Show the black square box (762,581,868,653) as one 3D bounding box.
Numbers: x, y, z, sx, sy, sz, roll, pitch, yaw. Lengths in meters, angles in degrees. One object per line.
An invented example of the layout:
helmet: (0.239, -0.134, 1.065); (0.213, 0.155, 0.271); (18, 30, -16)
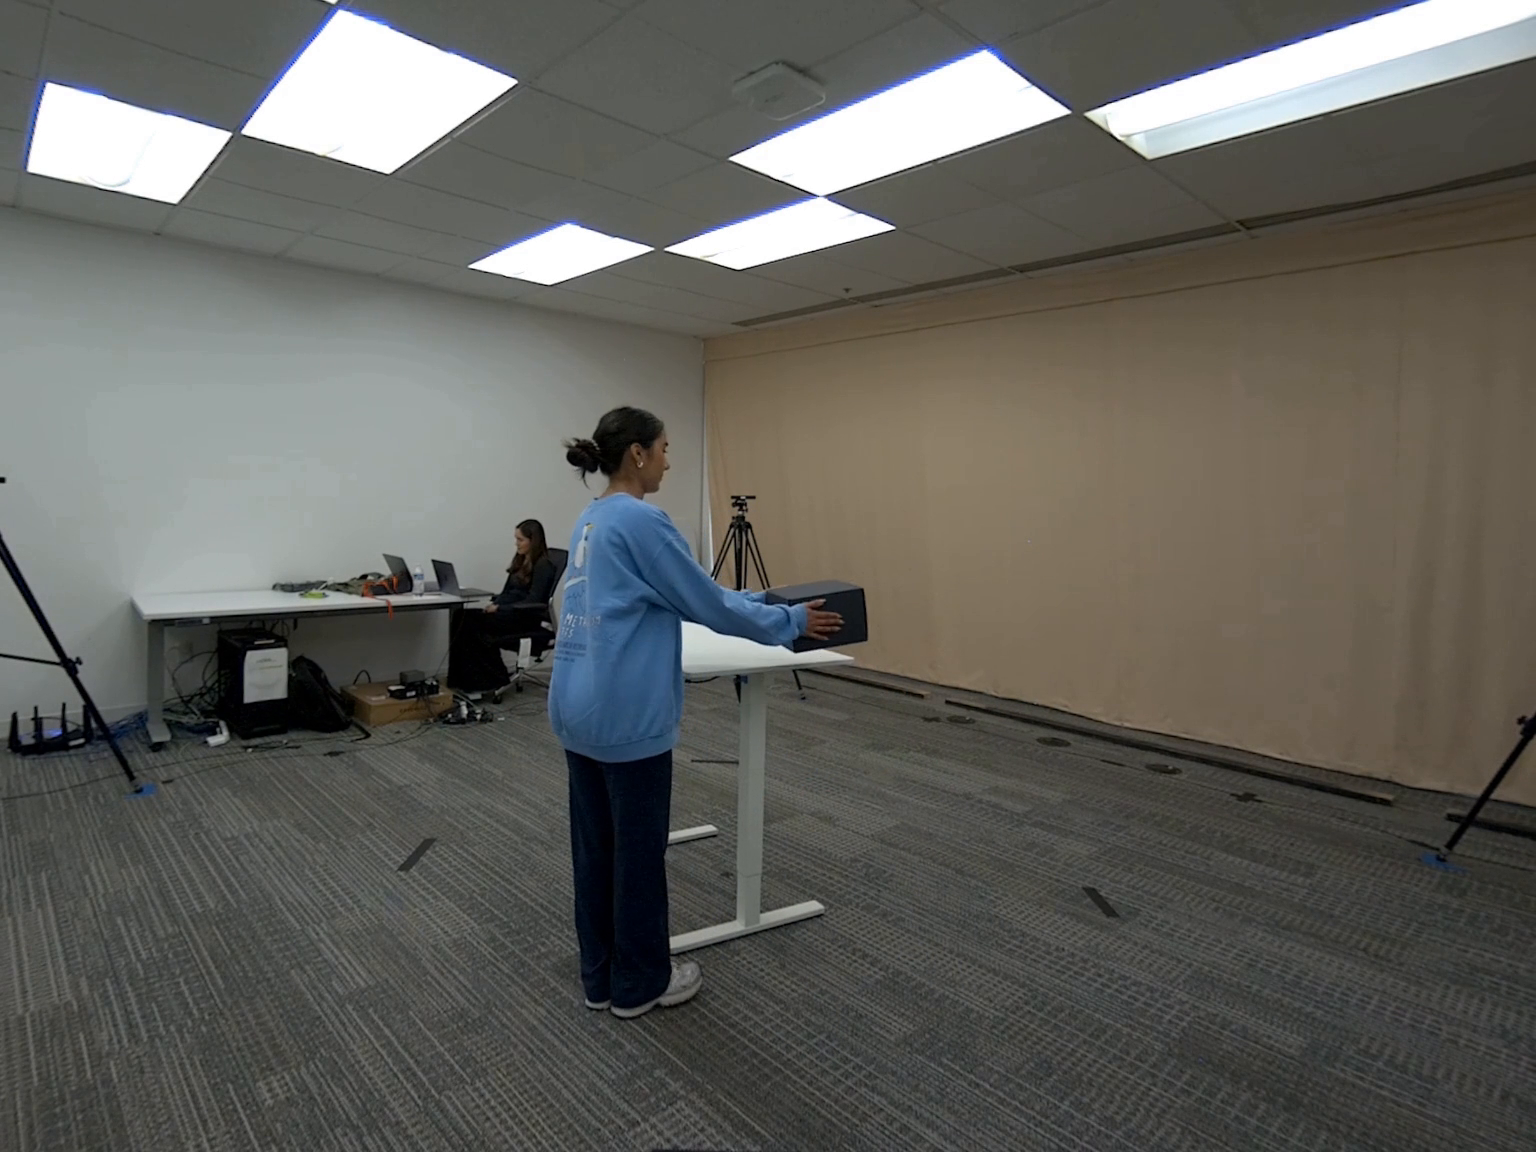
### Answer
black square box: (0.123, 0.116, 2.477); (0.226, 0.155, 0.220); (-6, 8, -14)
